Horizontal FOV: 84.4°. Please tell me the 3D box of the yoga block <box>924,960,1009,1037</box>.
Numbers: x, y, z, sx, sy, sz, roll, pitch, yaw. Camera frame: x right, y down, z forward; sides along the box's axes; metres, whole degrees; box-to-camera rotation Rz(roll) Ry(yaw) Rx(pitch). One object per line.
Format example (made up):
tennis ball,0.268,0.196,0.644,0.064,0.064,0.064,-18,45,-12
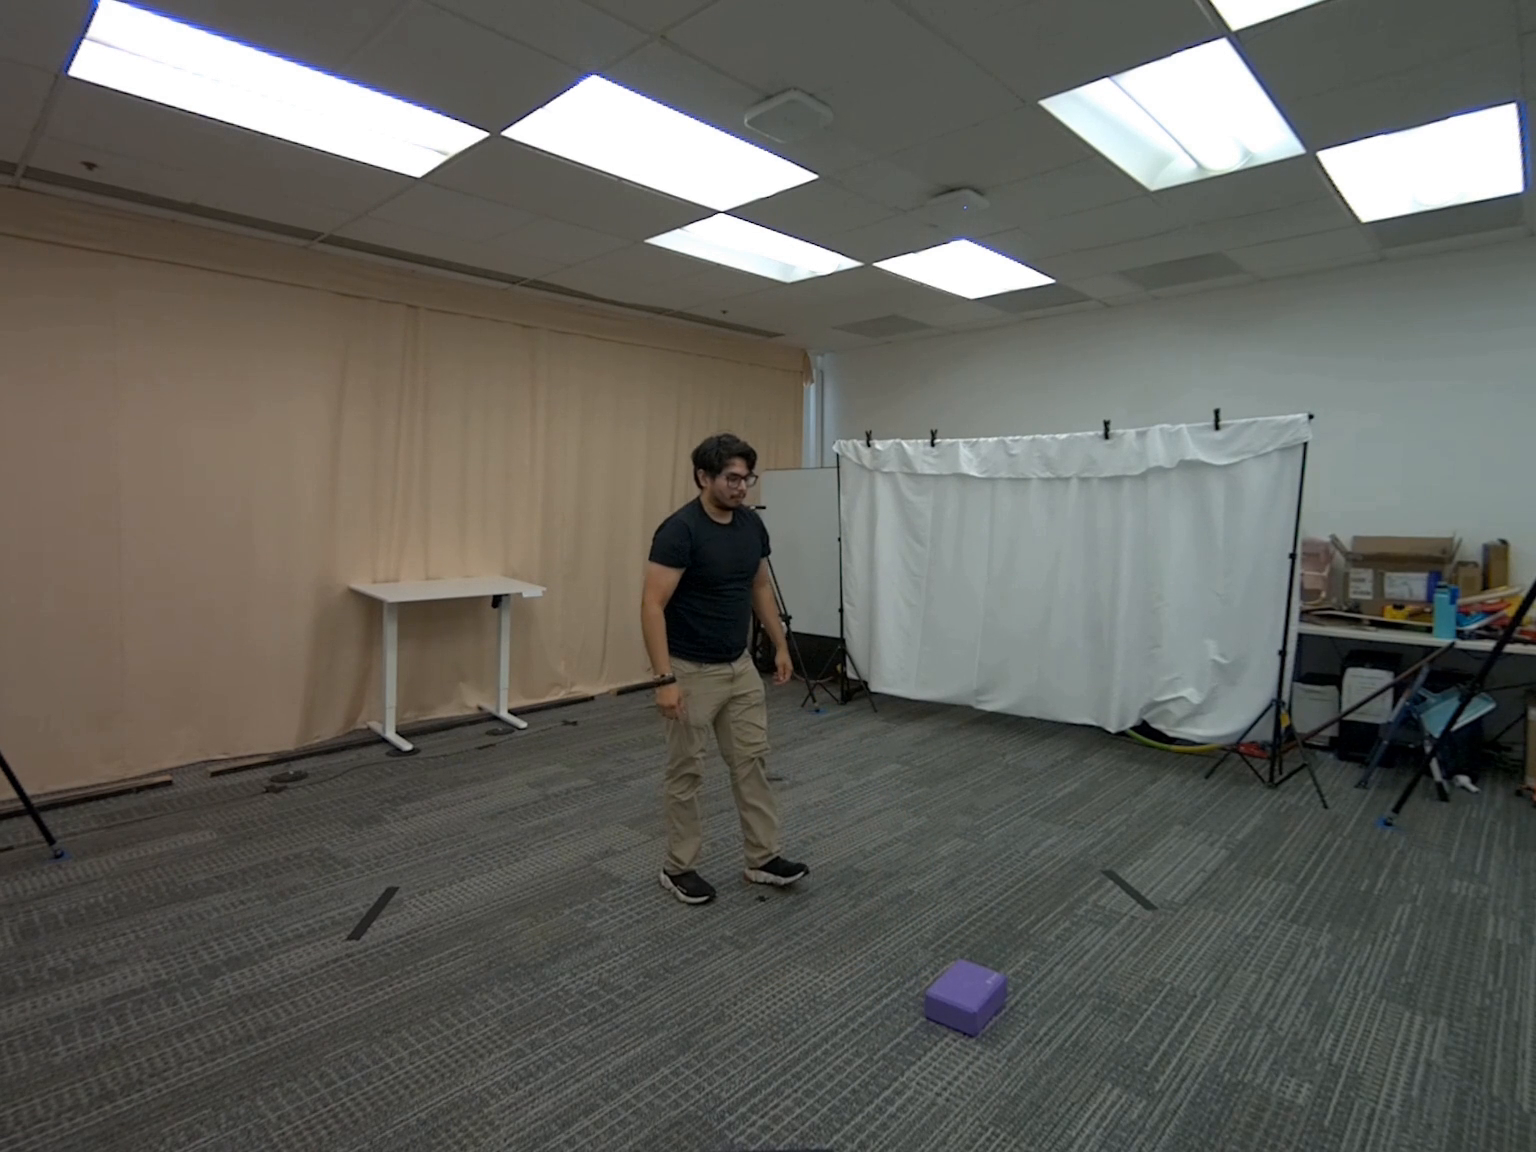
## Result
yoga block,0.555,1.161,2.320,0.154,0.076,0.222,4,6,38
